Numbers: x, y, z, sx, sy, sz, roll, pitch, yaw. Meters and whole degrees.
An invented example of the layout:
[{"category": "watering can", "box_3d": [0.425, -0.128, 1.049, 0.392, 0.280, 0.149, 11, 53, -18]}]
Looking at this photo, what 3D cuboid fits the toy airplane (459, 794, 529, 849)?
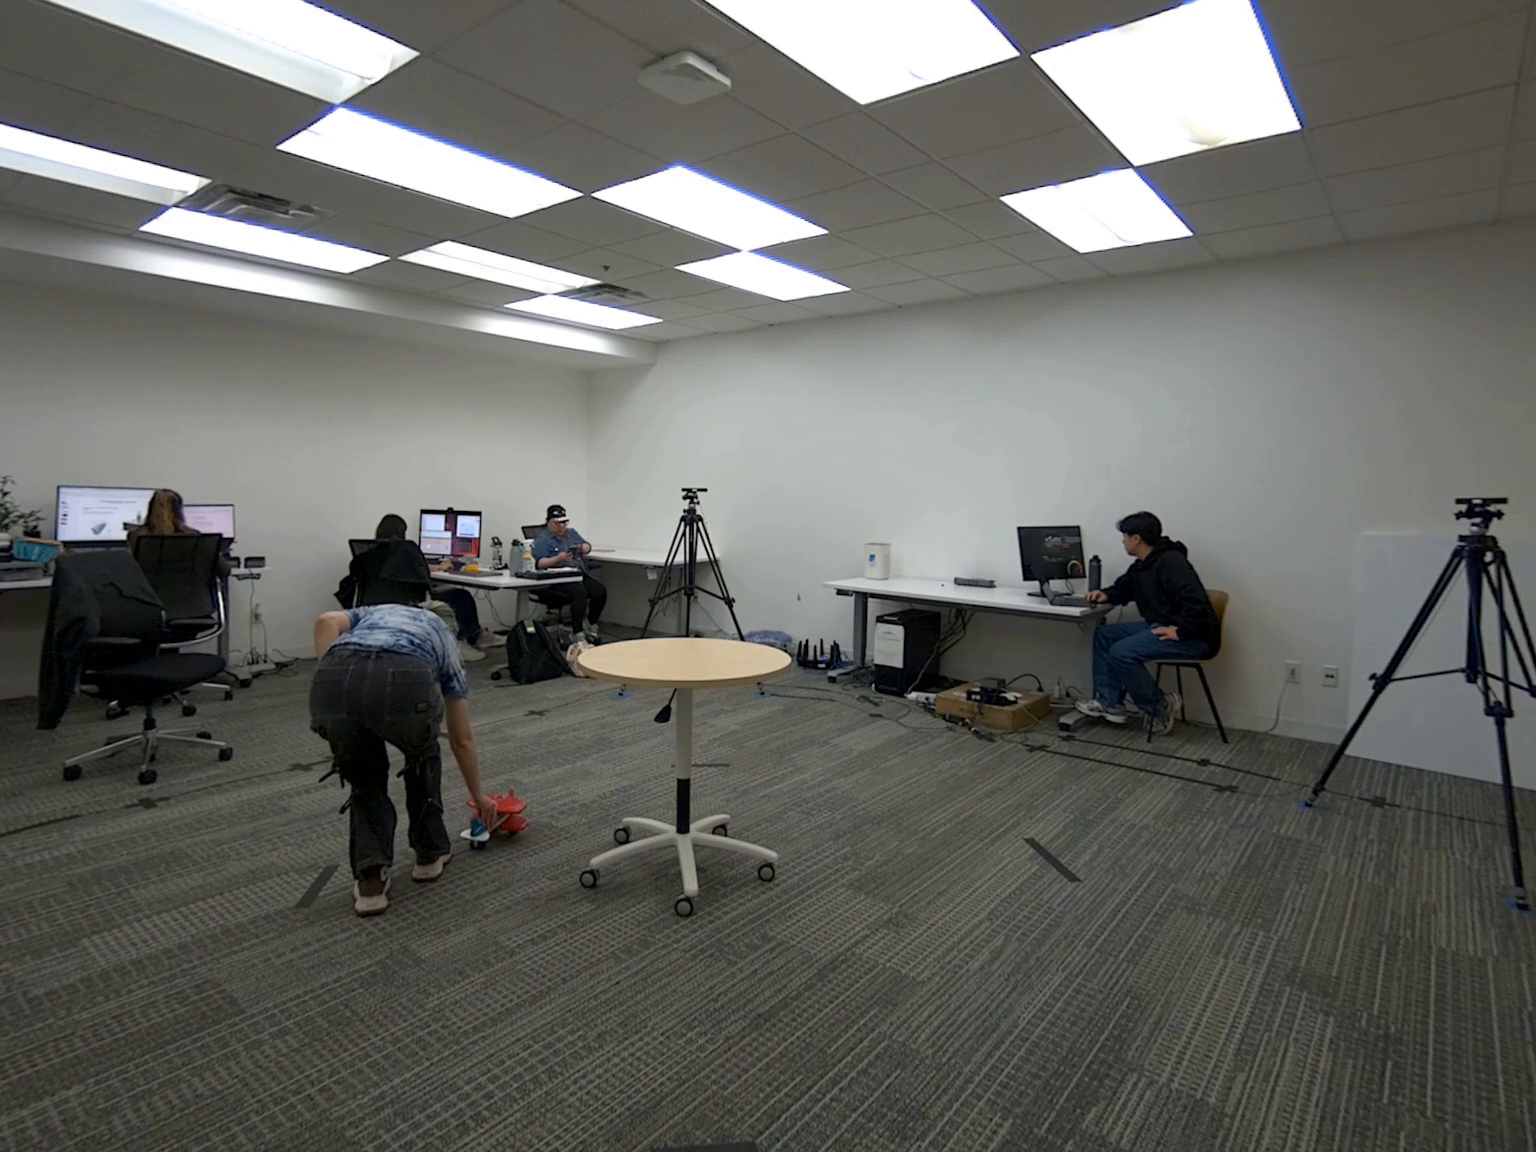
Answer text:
[{"category": "toy airplane", "box_3d": [-1.079, 0.965, 3.331, 0.249, 0.156, 0.262, -2, 5, -10]}]
